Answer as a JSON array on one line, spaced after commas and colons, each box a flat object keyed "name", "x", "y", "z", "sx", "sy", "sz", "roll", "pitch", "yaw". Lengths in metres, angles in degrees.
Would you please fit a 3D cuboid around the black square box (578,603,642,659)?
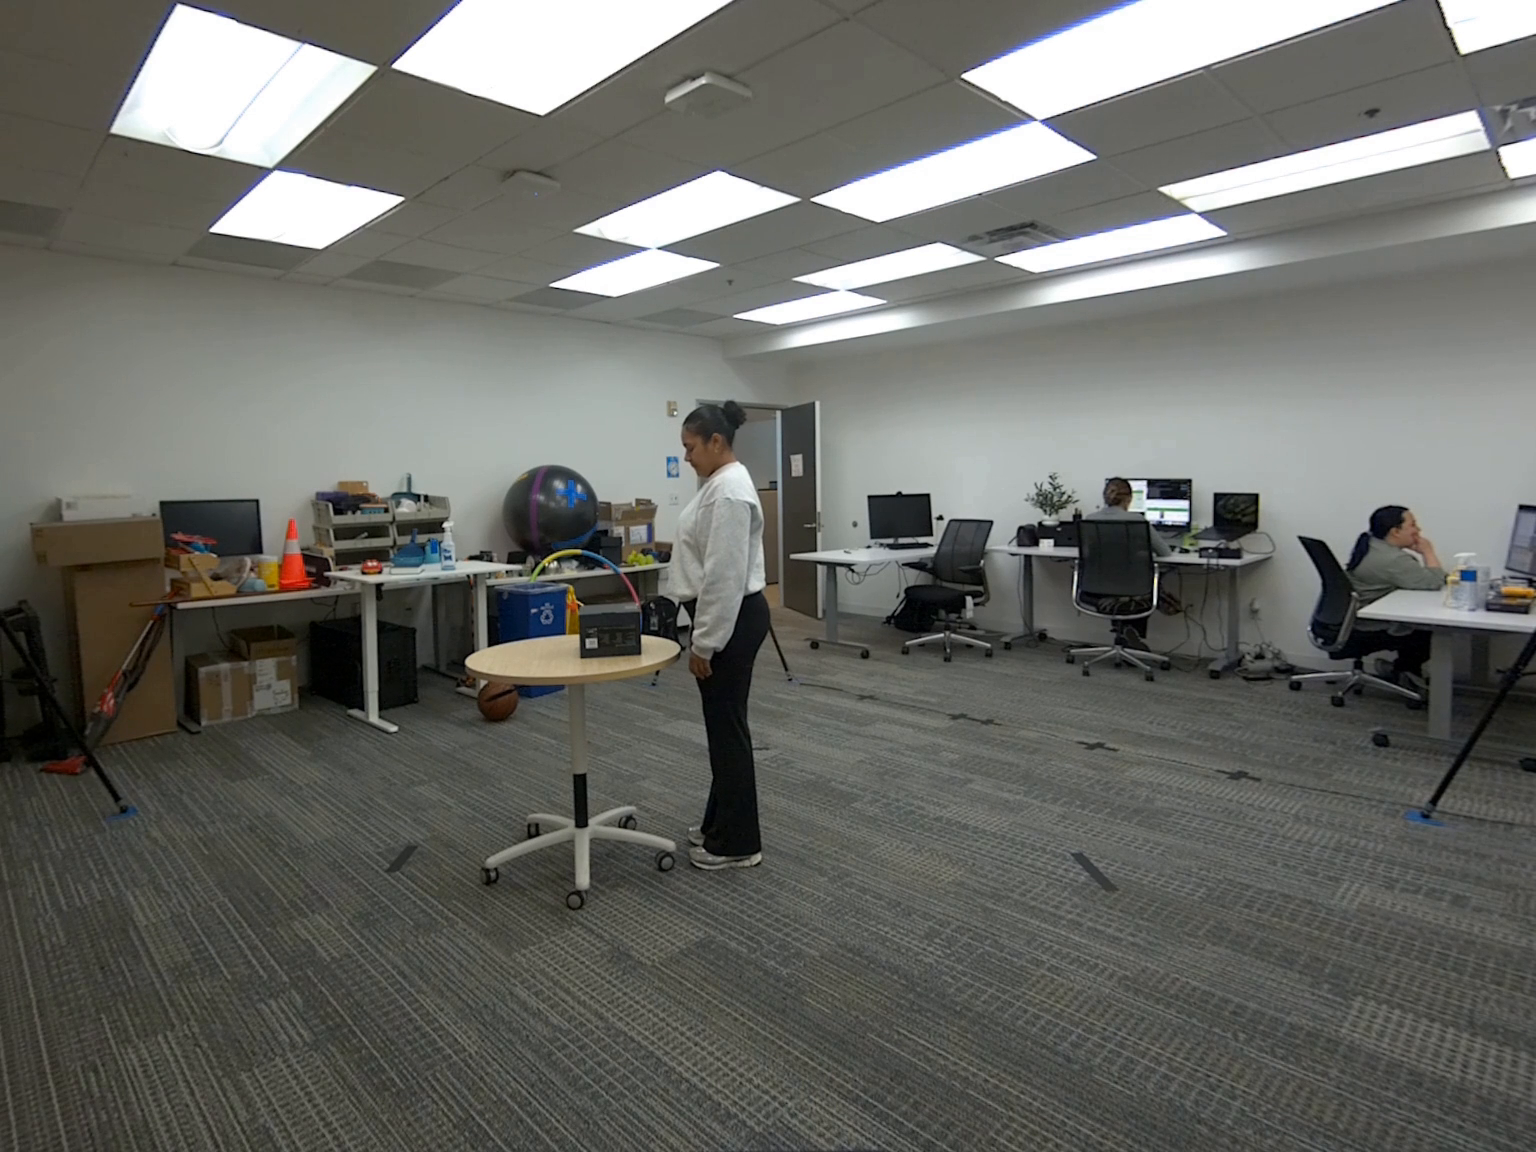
[{"name": "black square box", "x": -0.575, "y": 0.190, "z": 3.102, "sx": 0.215, "sy": 0.155, "sz": 0.231, "roll": -2, "pitch": 5, "yaw": -10}]
